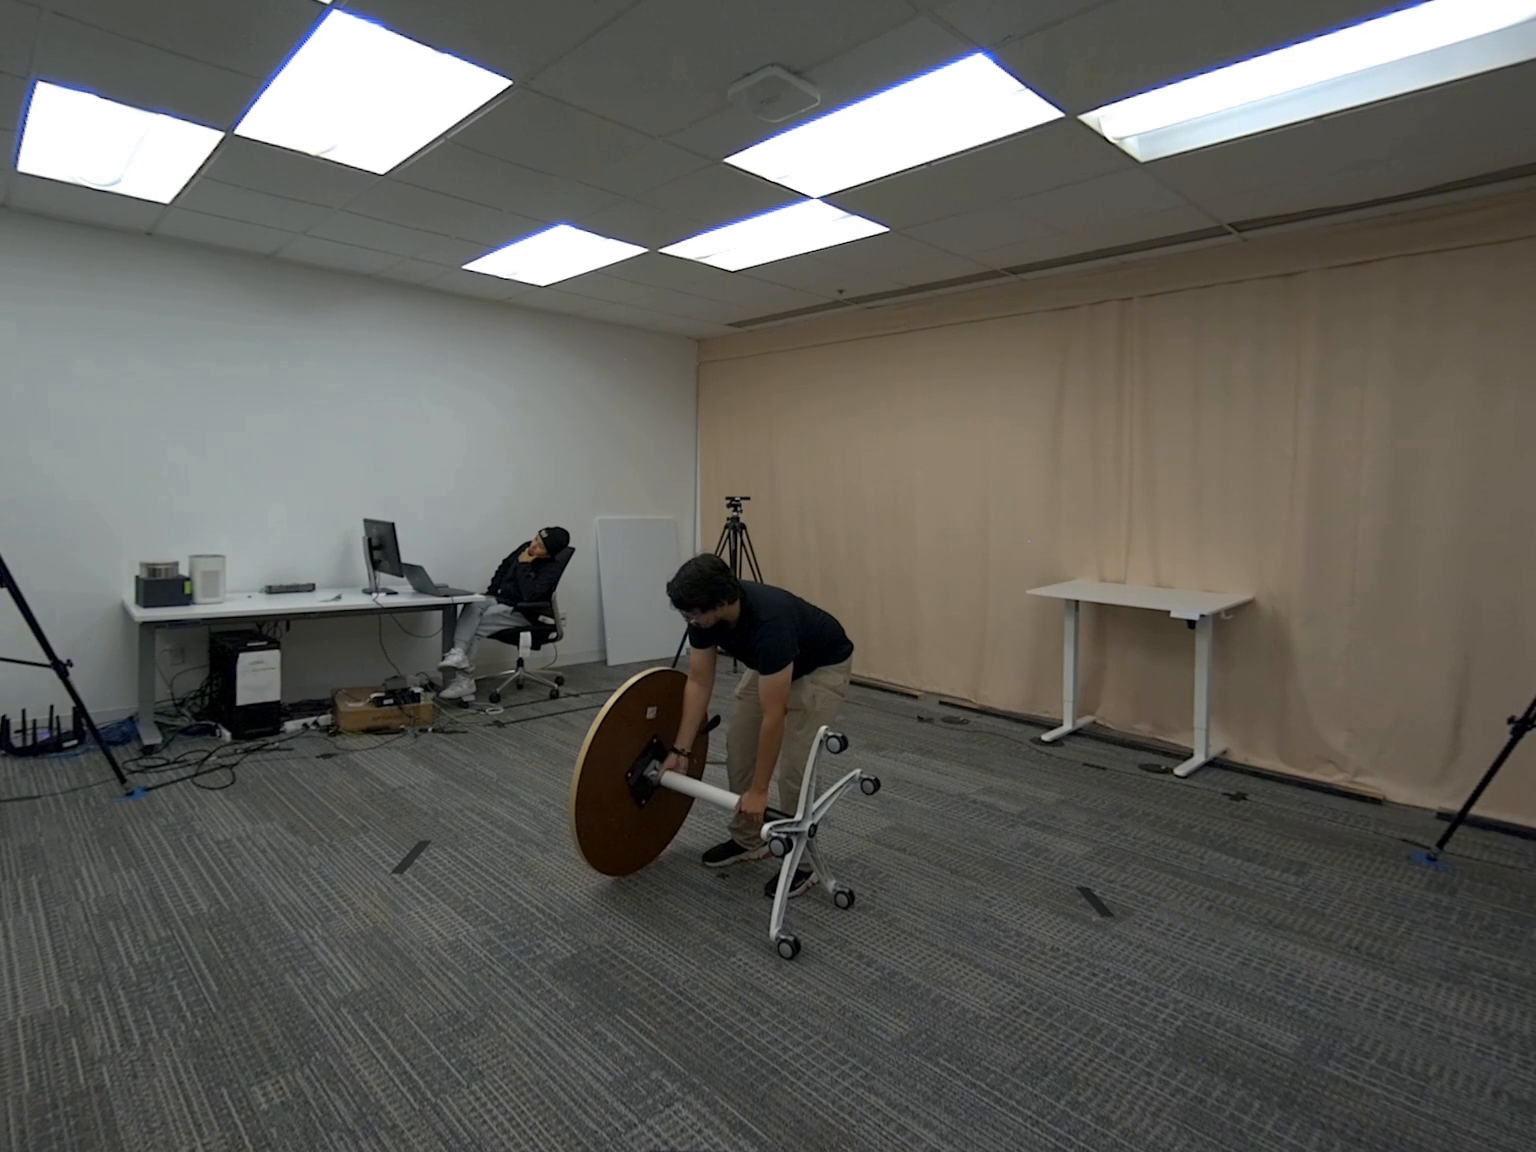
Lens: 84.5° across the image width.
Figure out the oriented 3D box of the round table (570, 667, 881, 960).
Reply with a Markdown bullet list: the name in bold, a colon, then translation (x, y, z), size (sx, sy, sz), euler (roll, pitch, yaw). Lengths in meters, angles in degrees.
- **round table**: translation (-0.130, 0.767, 2.893), size (0.806, 0.782, 0.769), euler (9, 8, 32)
